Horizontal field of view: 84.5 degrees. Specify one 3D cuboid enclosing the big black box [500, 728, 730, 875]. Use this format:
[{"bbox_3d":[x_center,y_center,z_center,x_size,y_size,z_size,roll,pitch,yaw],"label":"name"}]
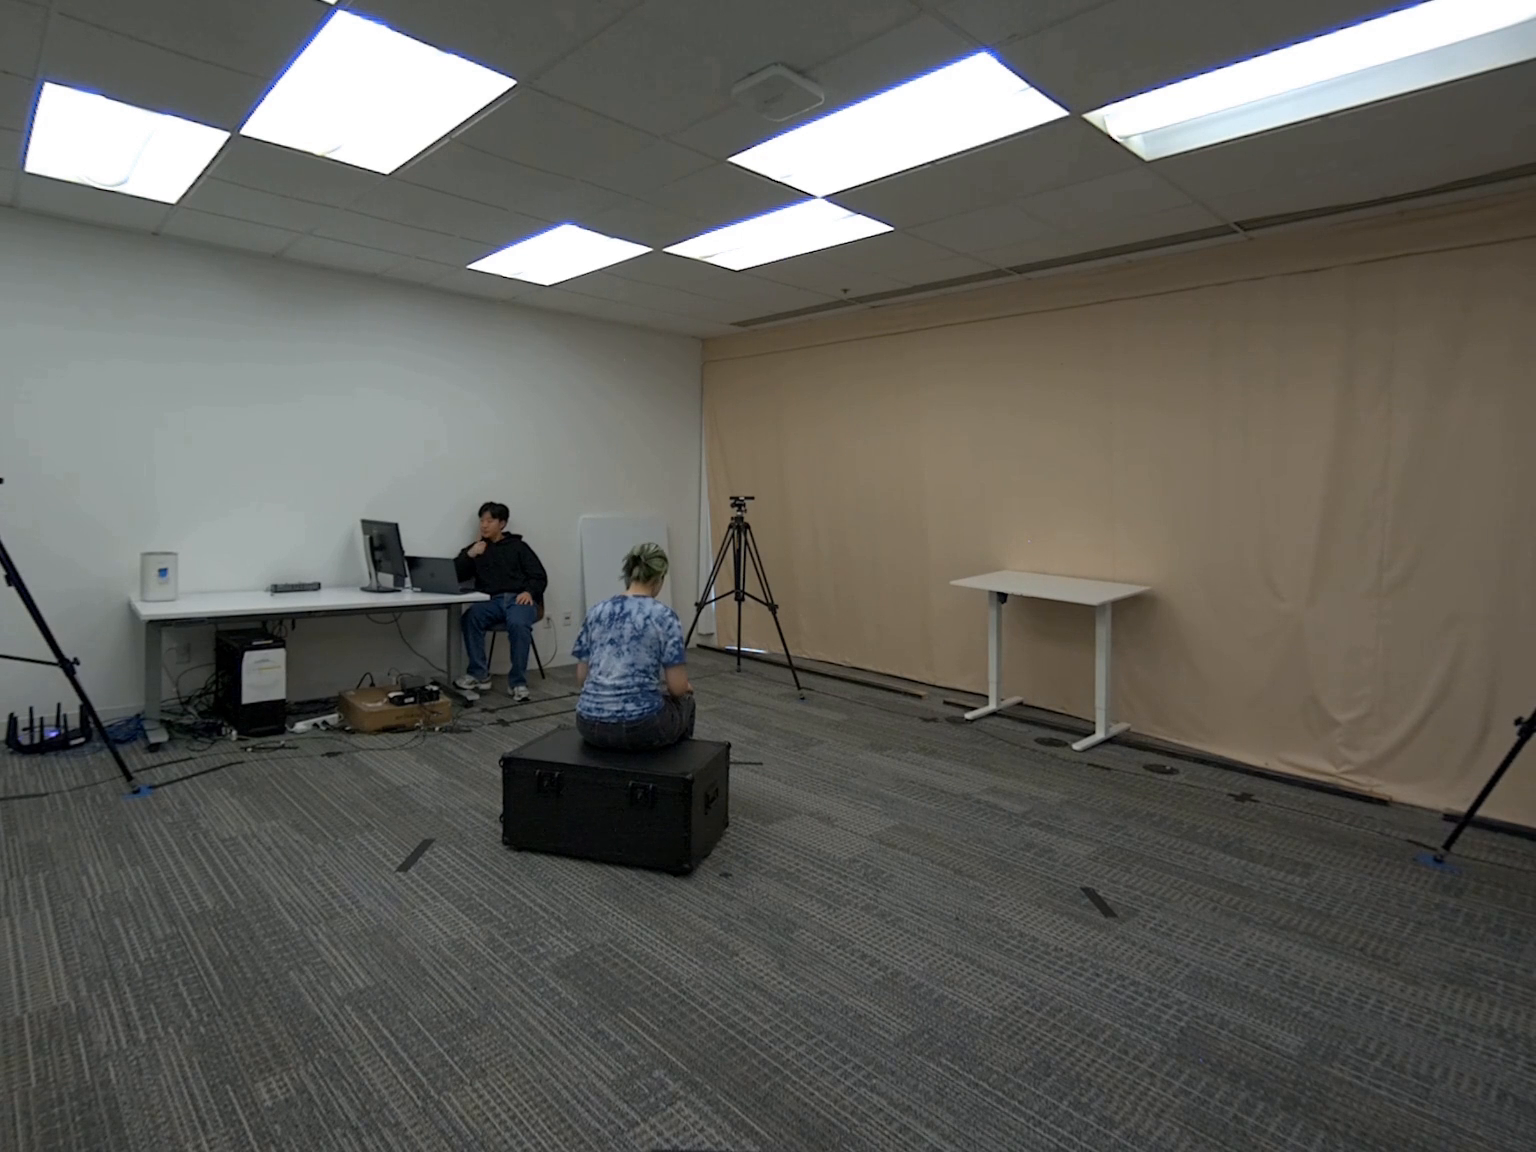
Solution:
[{"bbox_3d":[-0.632,0.877,3.388,0.872,0.395,0.516,3,5,15],"label":"big black box"}]
